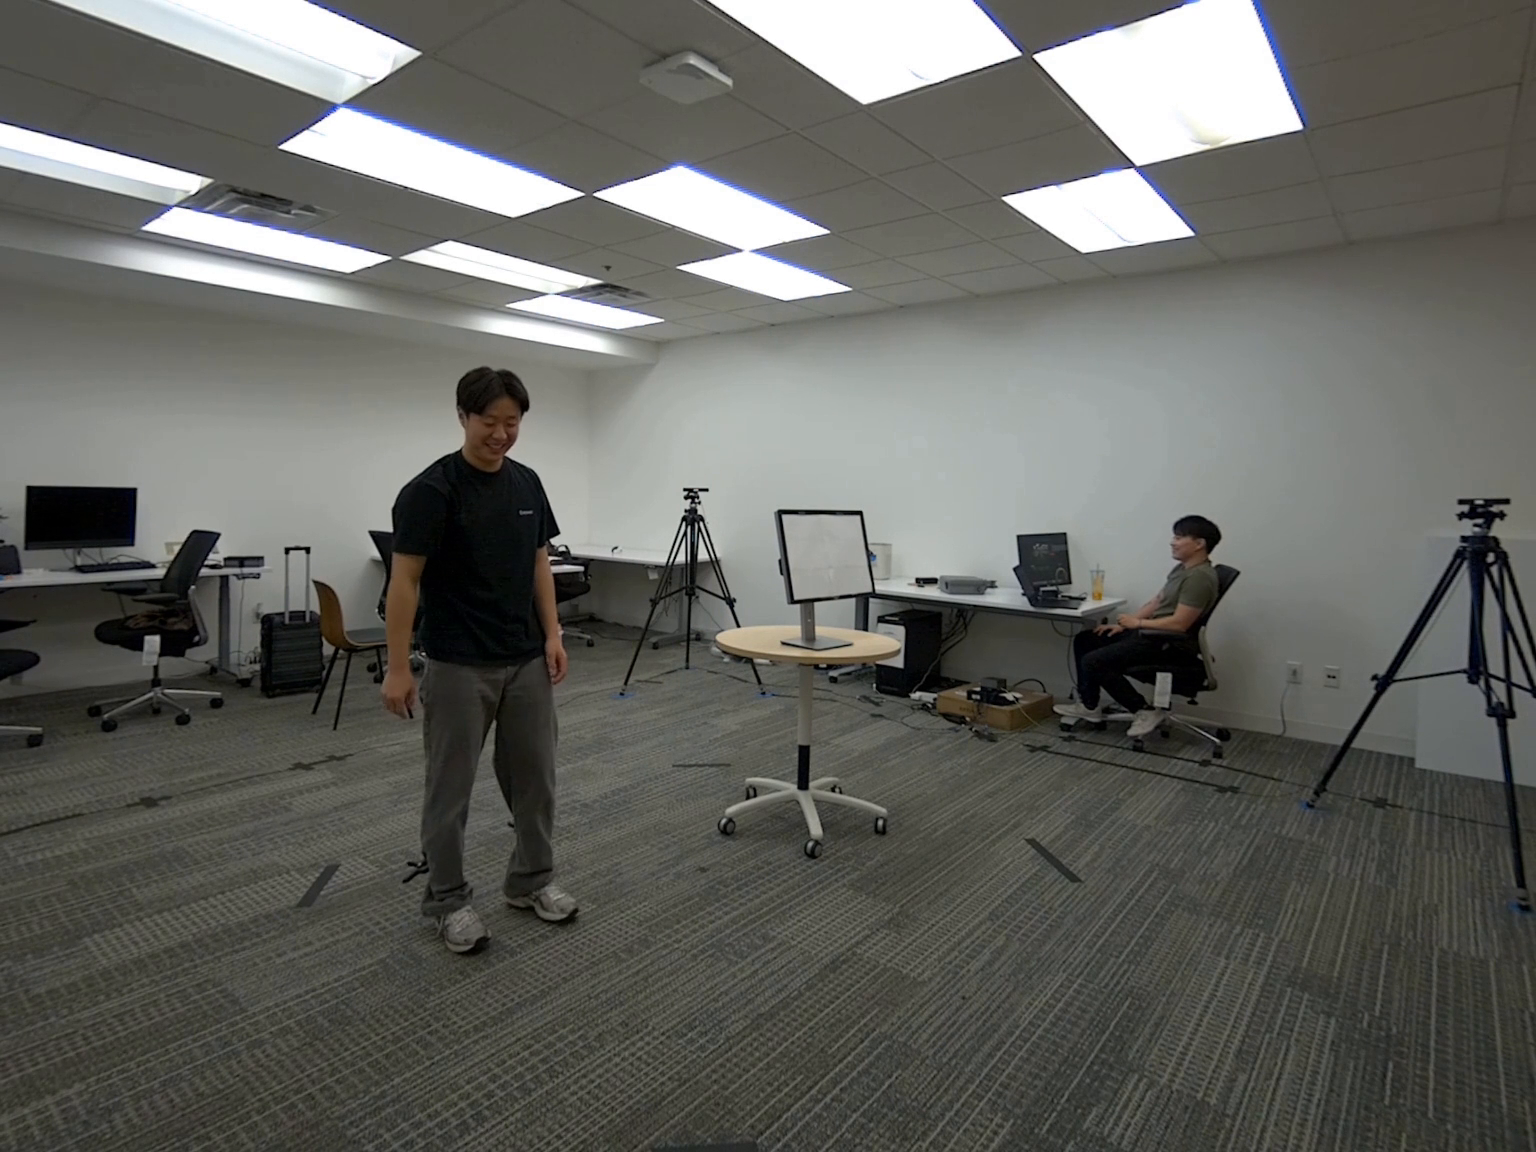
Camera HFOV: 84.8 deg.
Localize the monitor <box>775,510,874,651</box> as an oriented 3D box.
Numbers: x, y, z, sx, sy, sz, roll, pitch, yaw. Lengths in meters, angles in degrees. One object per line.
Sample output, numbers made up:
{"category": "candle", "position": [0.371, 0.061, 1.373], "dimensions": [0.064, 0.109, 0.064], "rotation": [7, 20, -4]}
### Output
{"category": "monitor", "position": [0.183, 0.005, 3.447], "dimensions": [0.216, 0.555, 0.548], "rotation": [-5, -1, 42]}
